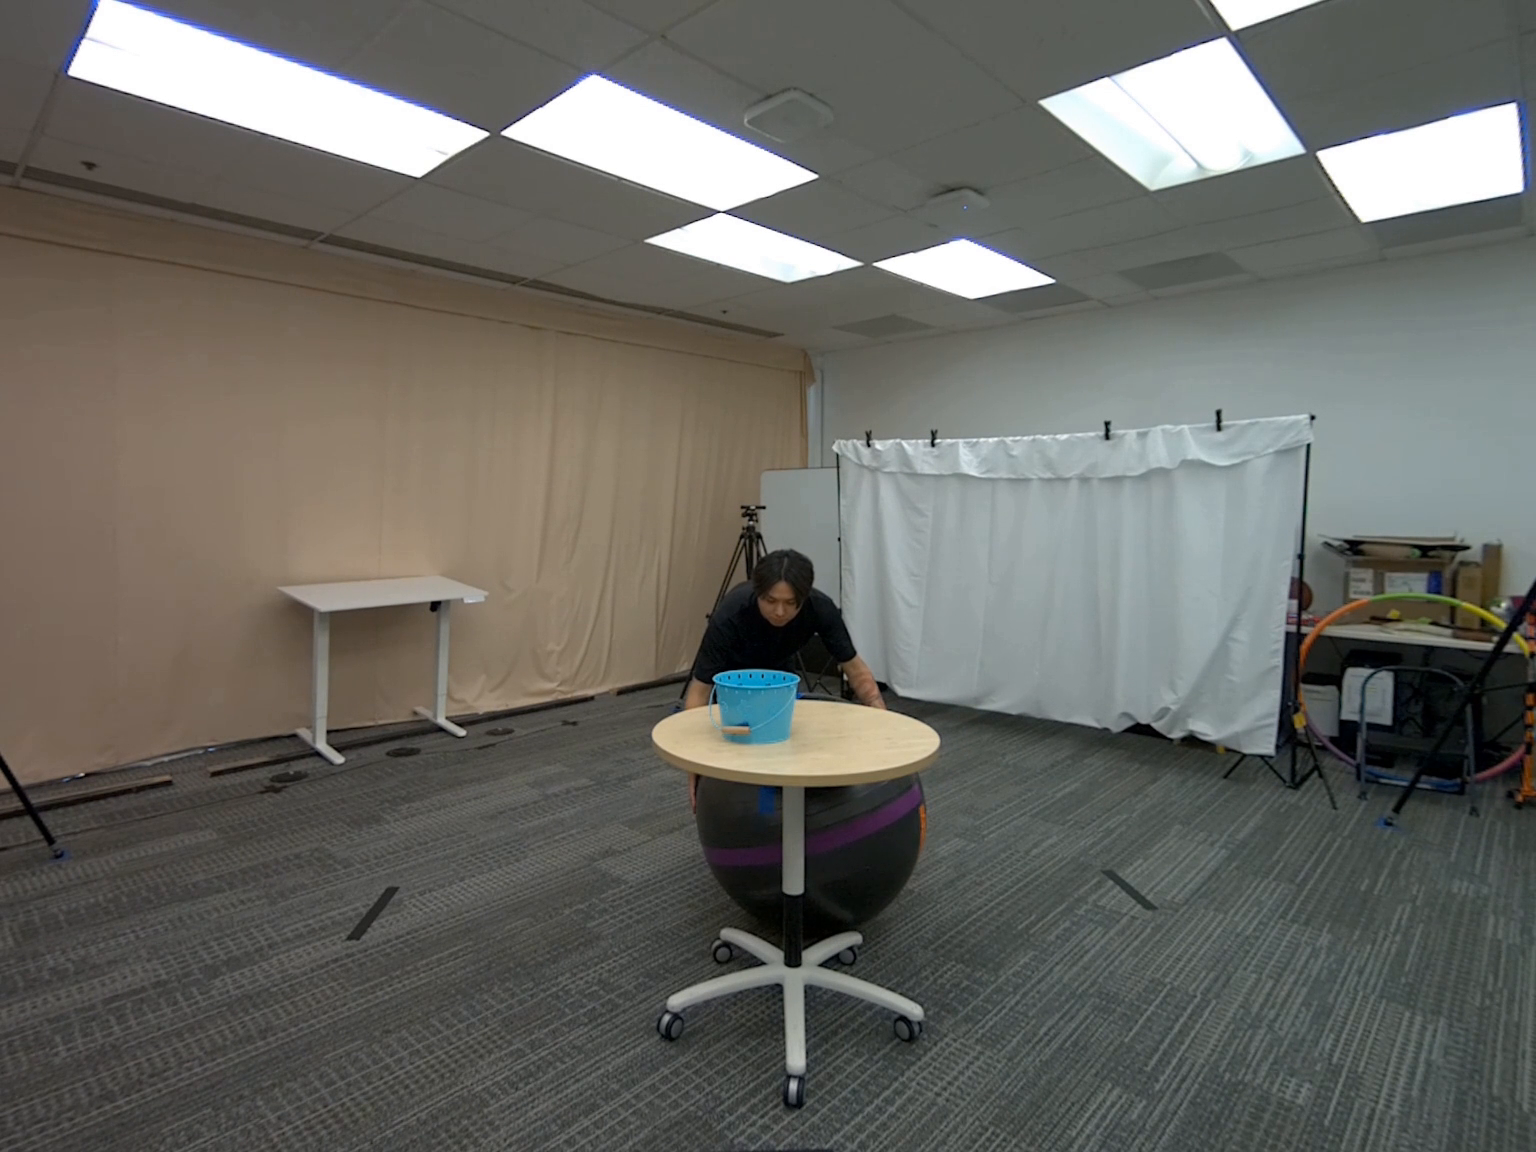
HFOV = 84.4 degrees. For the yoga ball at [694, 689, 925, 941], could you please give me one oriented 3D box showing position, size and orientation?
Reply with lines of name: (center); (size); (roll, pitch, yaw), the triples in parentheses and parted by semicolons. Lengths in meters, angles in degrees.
yoga ball: (0.141, 0.789, 2.815); (0.757, 0.756, 0.760); (0, 4, -2)
